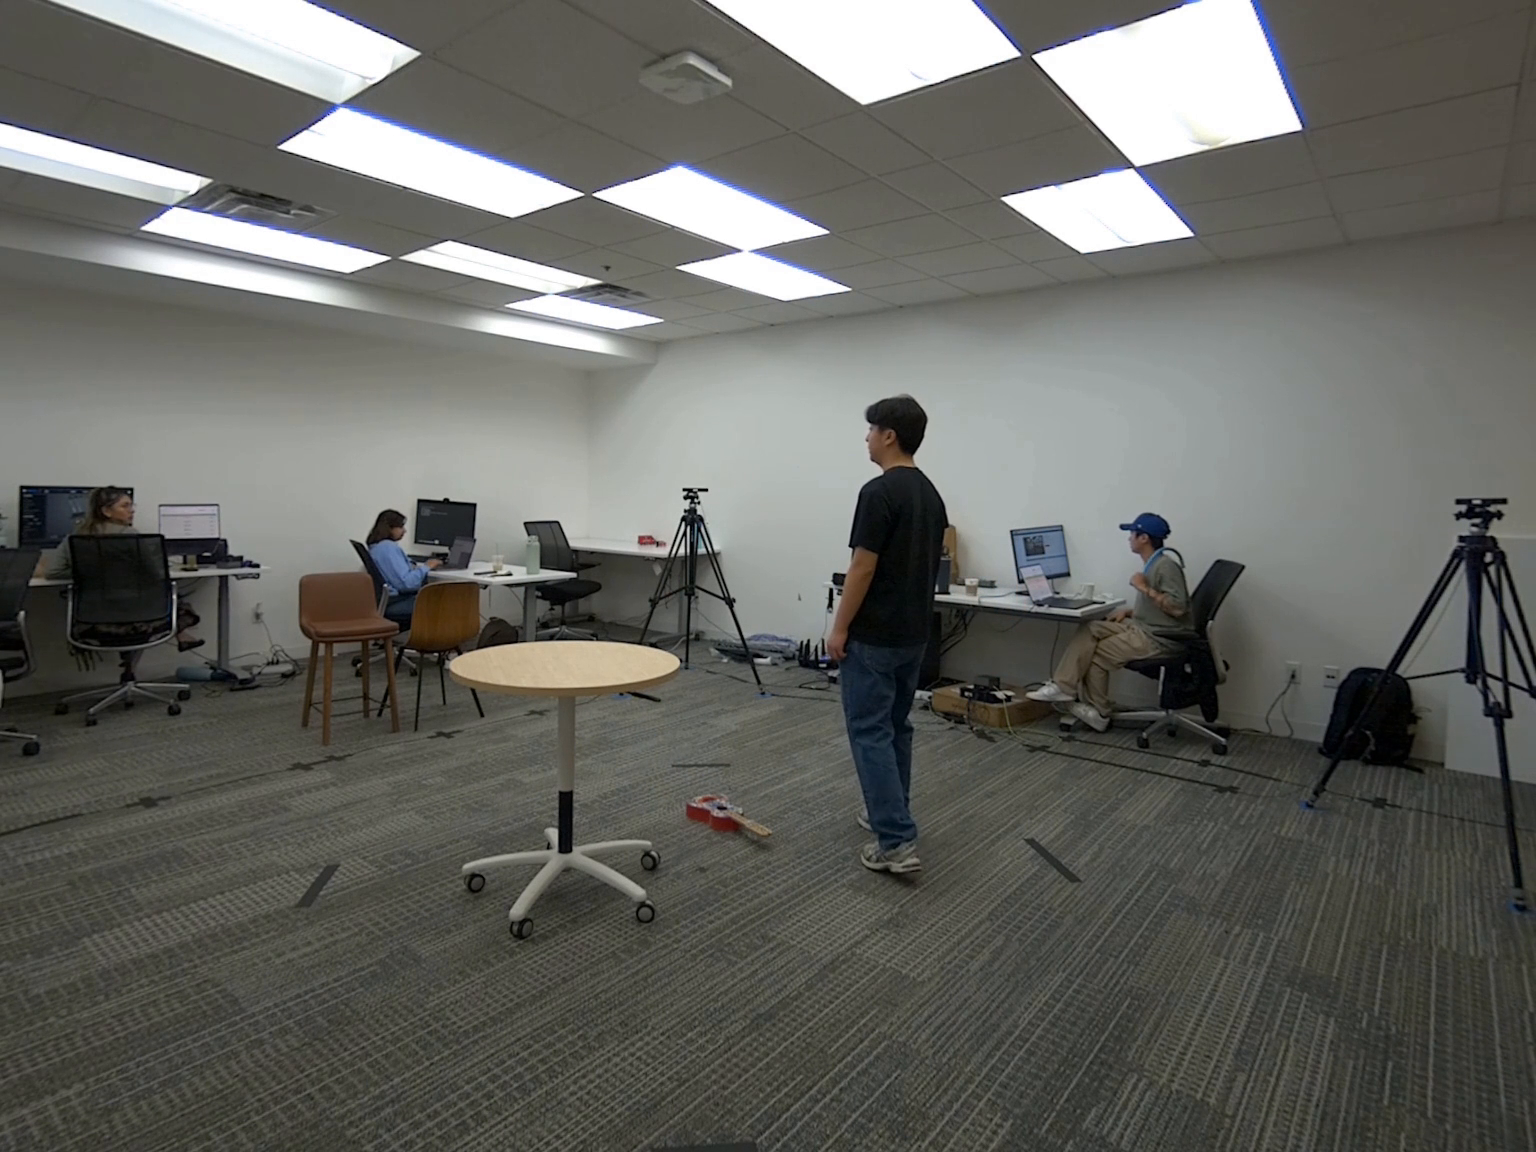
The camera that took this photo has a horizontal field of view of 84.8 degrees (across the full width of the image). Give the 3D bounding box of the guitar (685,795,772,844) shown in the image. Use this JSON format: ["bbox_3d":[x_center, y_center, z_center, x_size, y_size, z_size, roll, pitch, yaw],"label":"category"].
[{"bbox_3d":[-0.185,1.002,3.482,0.188,0.070,0.512,-2,6,-26],"label":"guitar"}]
